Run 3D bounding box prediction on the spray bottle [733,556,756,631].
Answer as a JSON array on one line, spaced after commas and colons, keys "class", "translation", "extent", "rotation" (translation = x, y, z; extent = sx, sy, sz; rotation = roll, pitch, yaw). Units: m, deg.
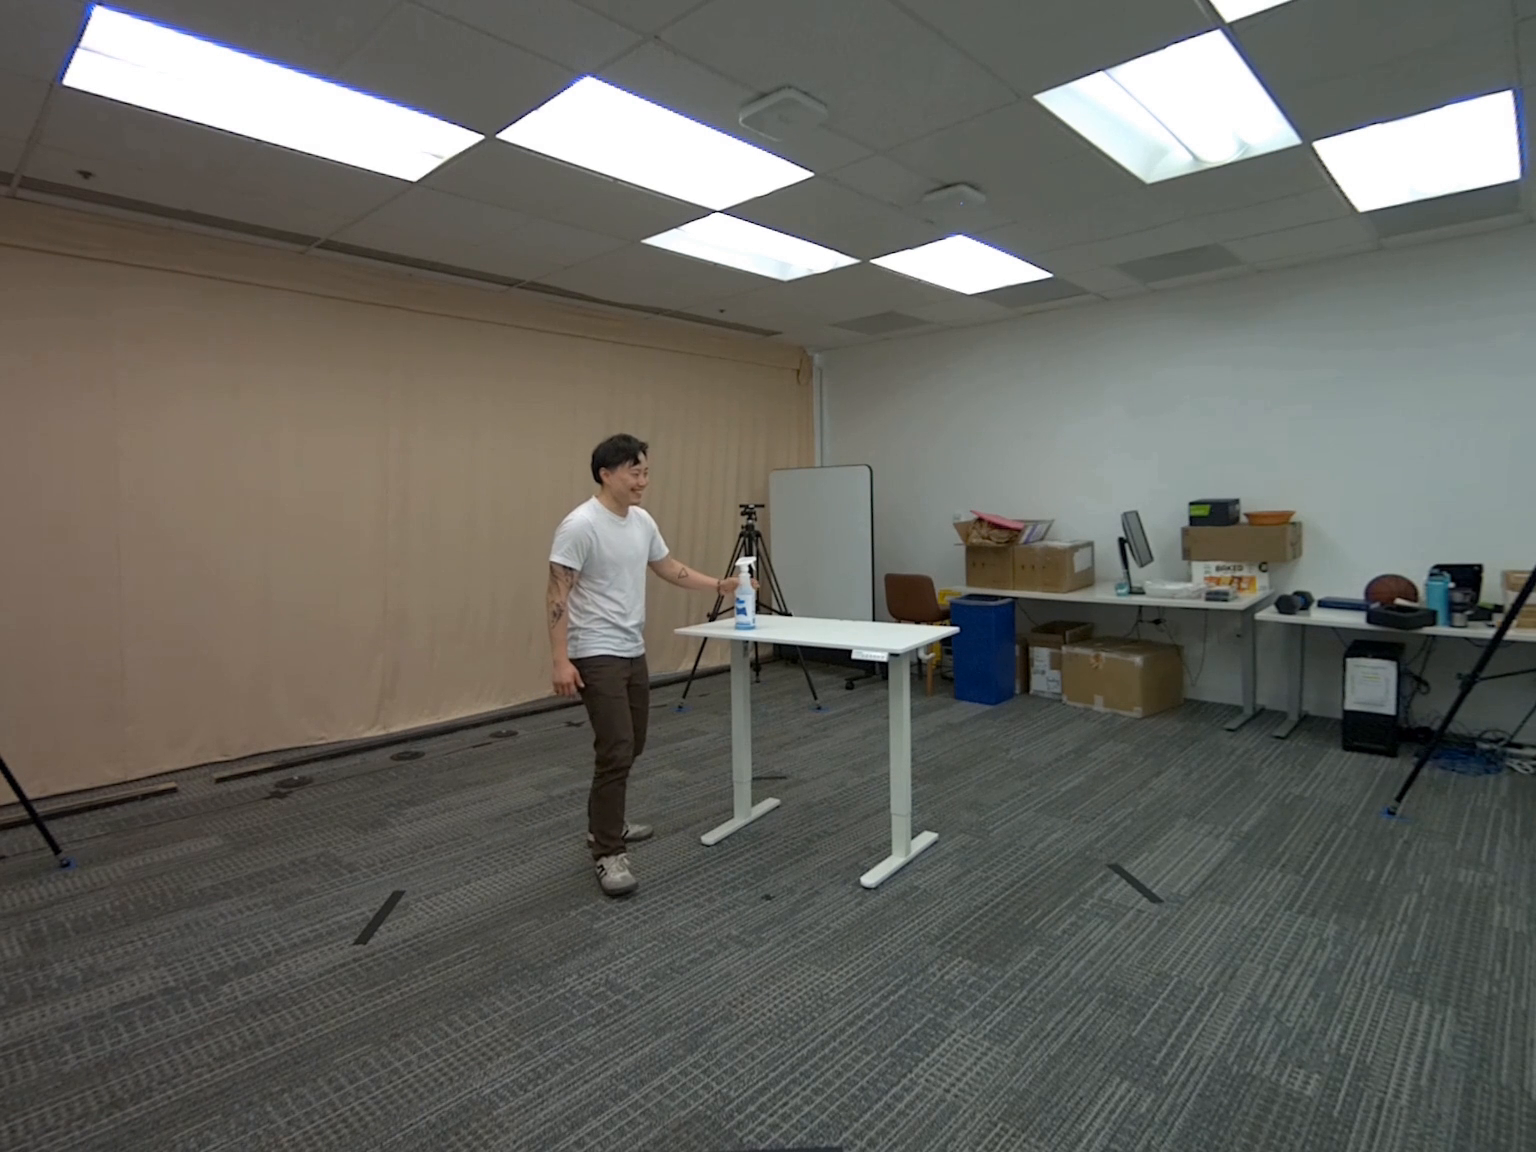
[{"class": "spray bottle", "translation": [-0.094, 0.075, 3.469], "extent": [0.090, 0.297, 0.087], "rotation": [0, 3, 1]}]
